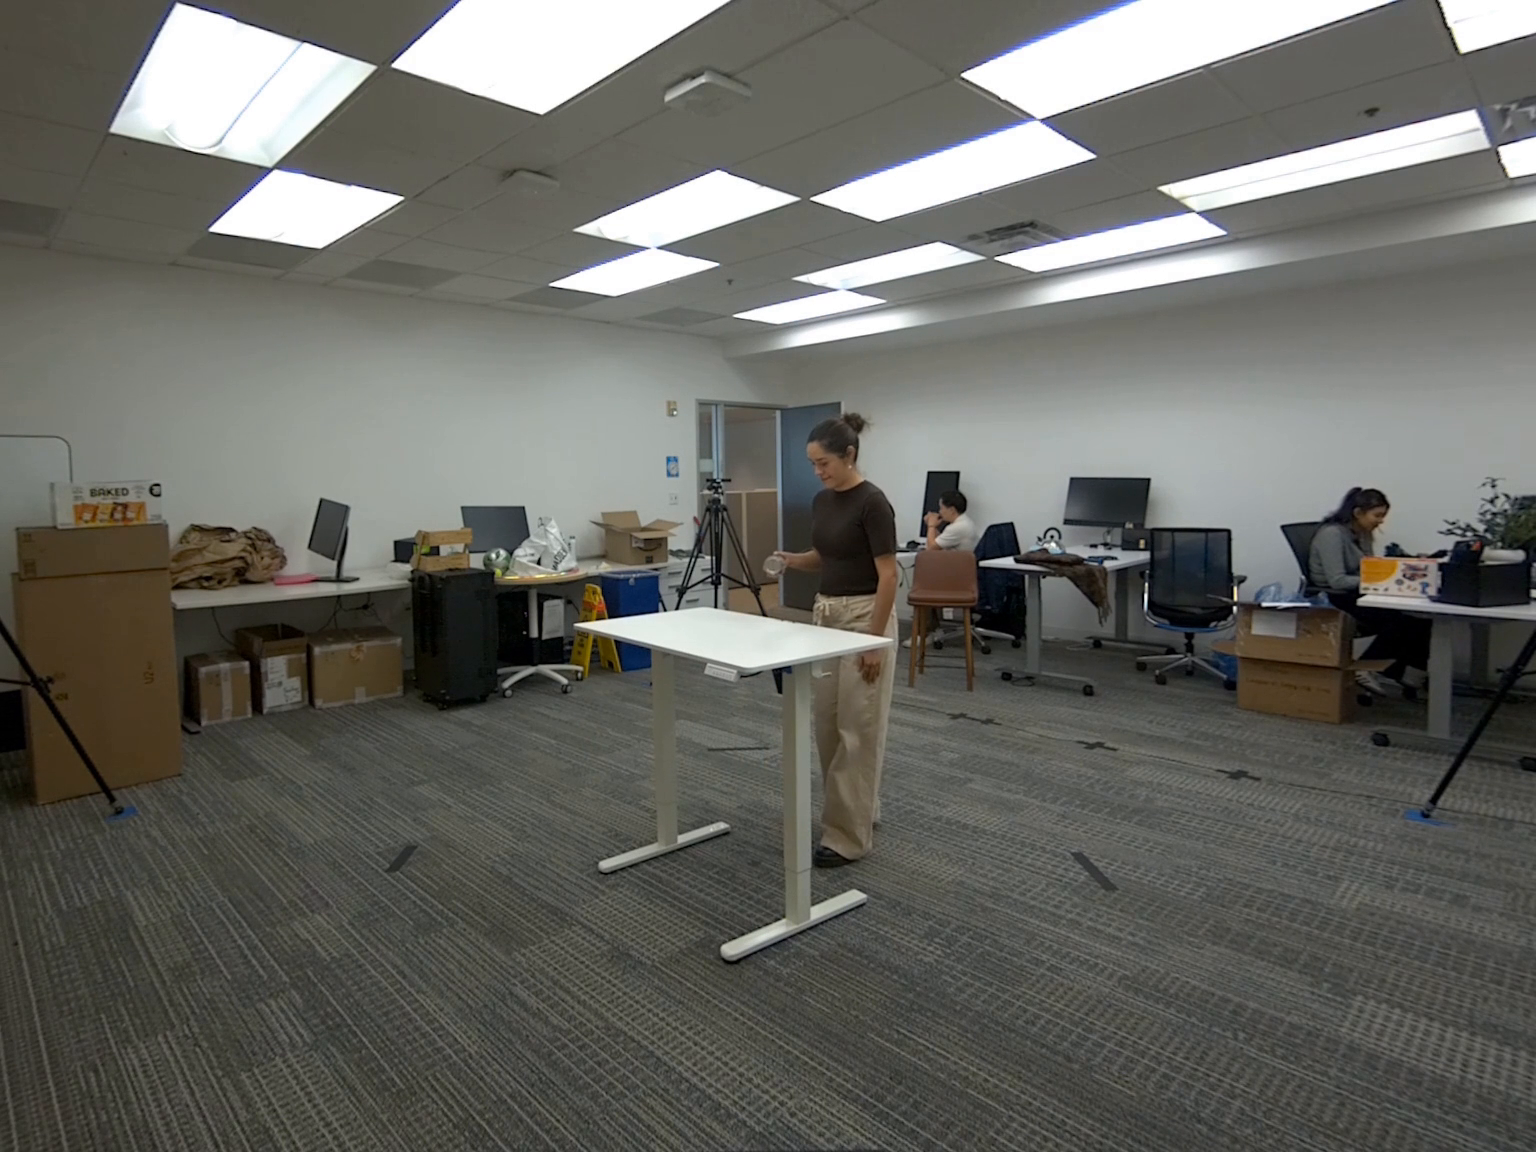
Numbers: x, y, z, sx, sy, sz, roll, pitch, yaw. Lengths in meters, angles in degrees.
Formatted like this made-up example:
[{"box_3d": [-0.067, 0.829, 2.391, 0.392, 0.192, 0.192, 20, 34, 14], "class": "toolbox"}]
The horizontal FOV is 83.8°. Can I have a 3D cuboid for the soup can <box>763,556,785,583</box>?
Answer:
[{"box_3d": [0.031, -0.016, 3.157, 0.067, 0.121, 0.067, 1, 0, -2], "class": "soup can"}]
